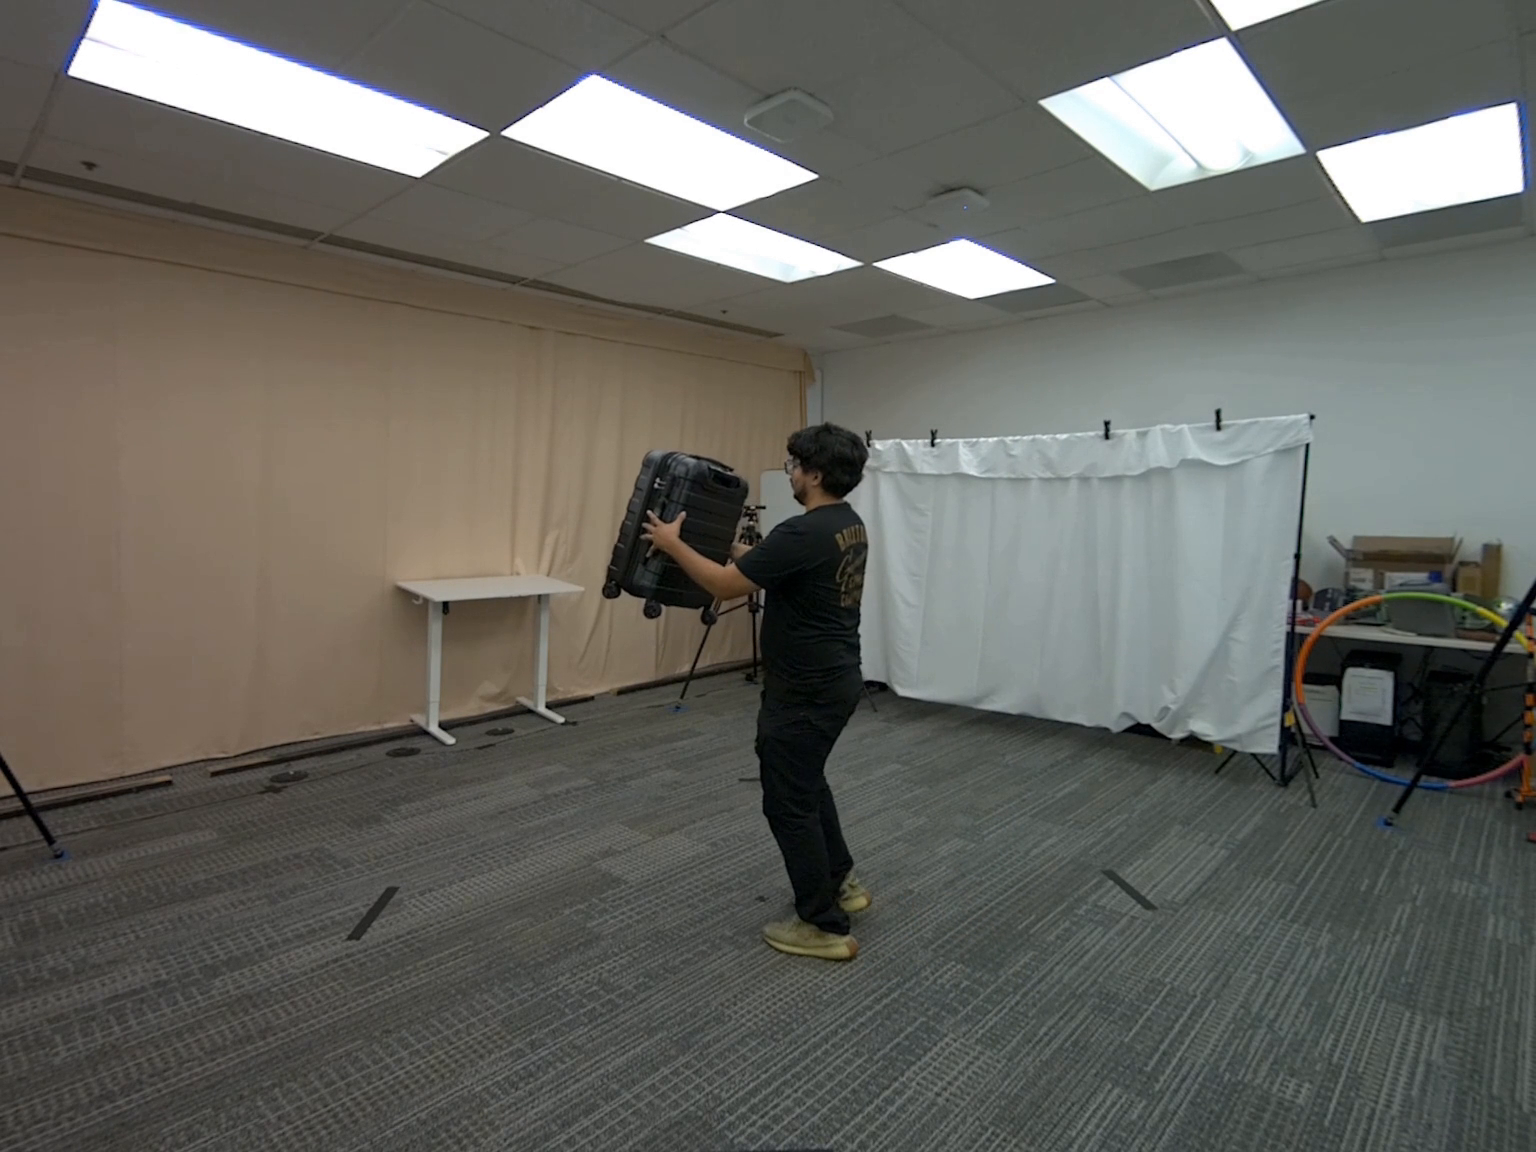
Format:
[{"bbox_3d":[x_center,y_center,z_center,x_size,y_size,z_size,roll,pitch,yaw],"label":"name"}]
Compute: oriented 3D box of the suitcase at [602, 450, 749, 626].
[{"bbox_3d":[-0.306,-0.145,2.899,0.257,0.548,0.362,21,6,38],"label":"suitcase"}]
